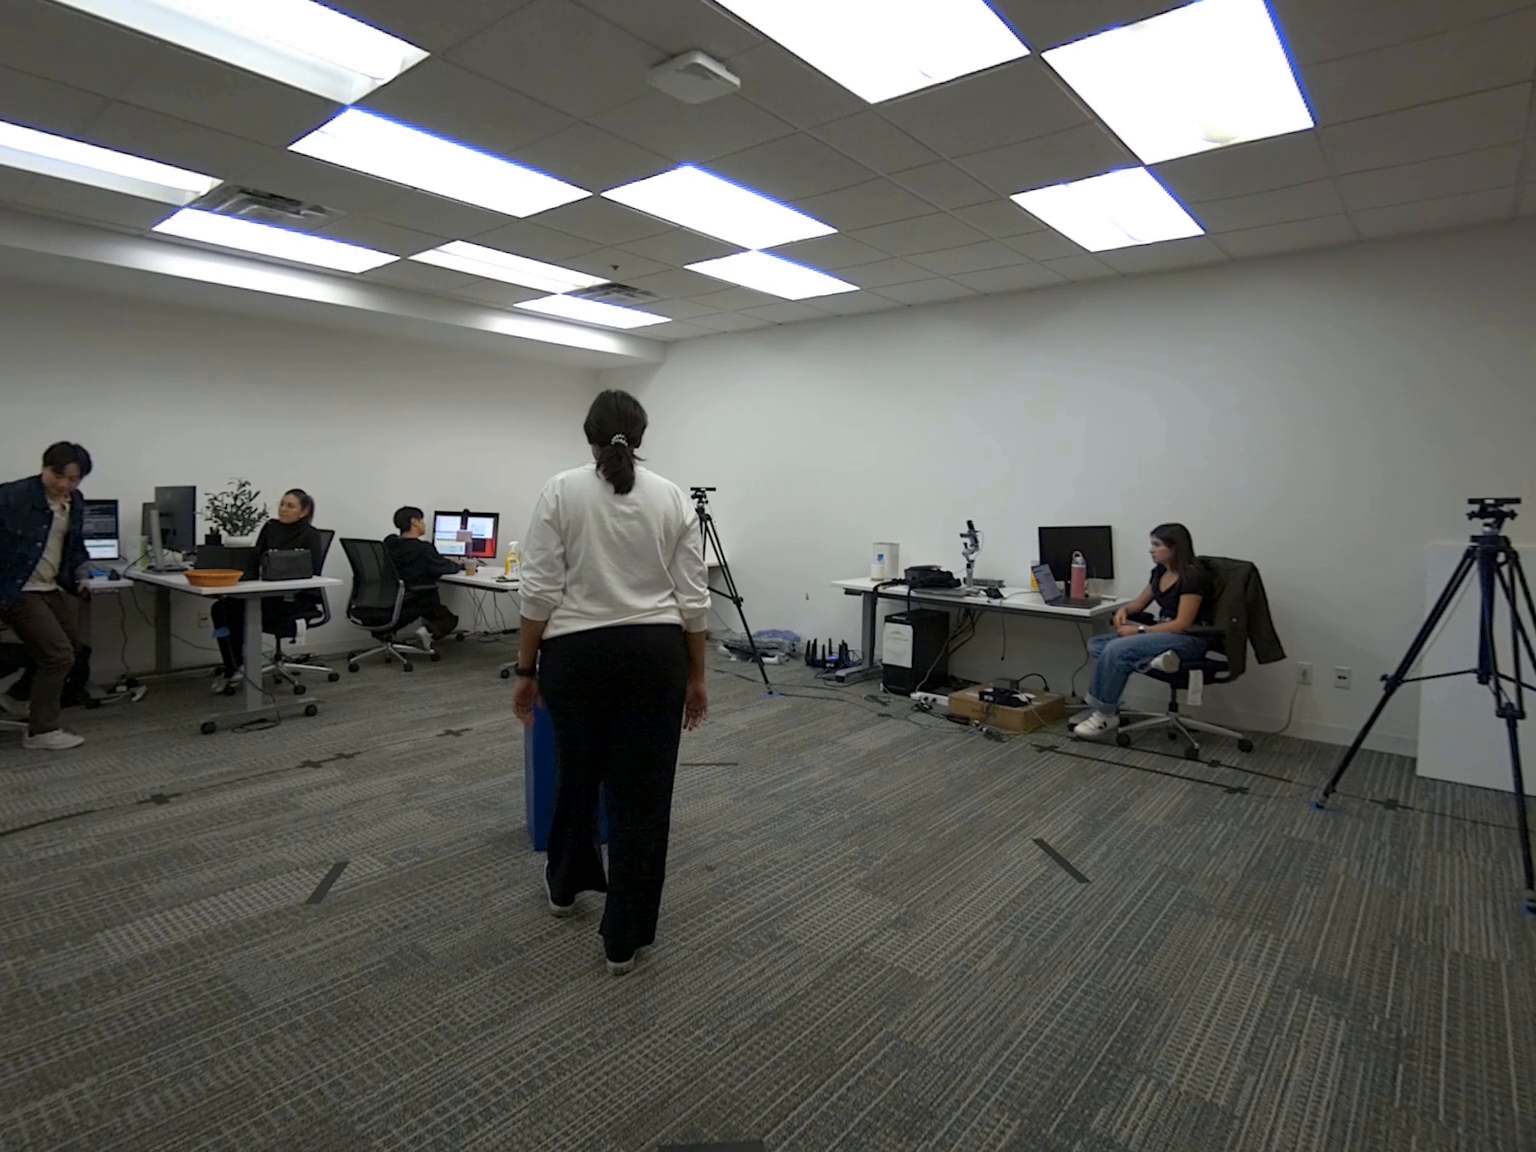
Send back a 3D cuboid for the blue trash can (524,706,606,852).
[{"bbox_3d":[-0.802,0.667,3.394,0.370,0.712,0.383,0,3,-21],"label":"blue trash can"}]
